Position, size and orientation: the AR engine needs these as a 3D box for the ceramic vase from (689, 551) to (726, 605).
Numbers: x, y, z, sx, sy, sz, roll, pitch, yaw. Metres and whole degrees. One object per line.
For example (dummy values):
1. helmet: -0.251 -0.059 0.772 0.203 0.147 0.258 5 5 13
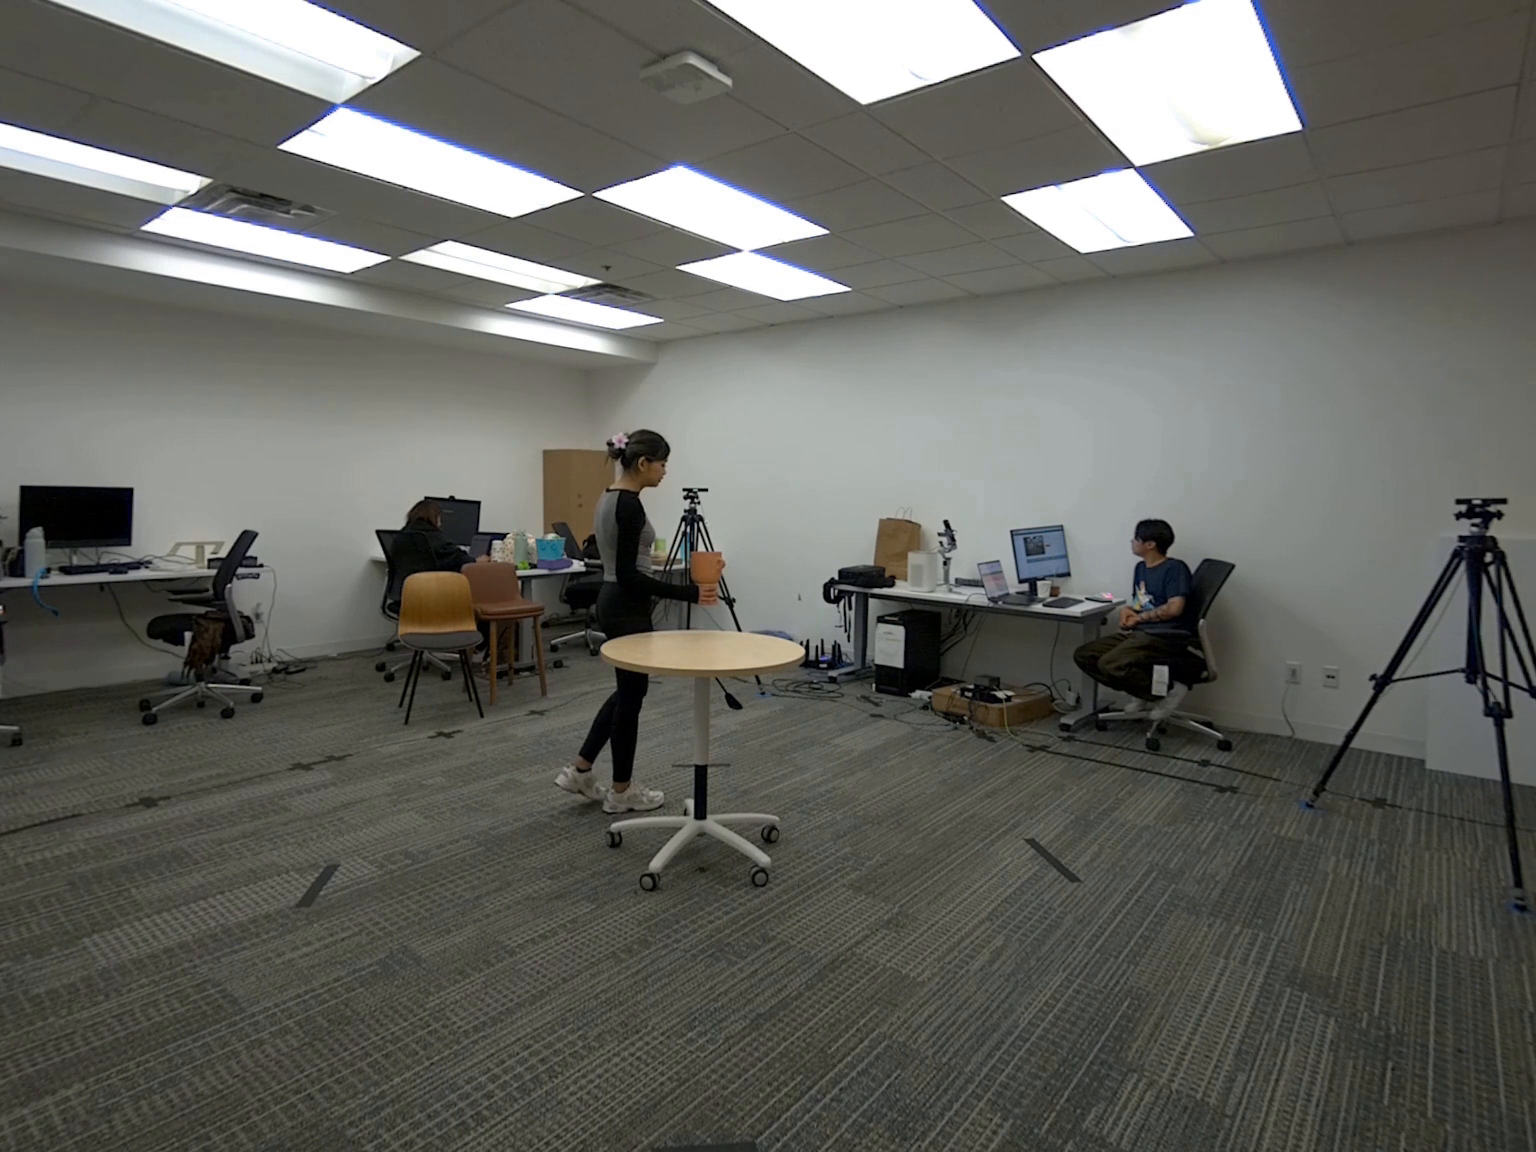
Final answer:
1. ceramic vase: -0.276 0.007 3.566 0.133 0.220 0.161 0 0 -15
